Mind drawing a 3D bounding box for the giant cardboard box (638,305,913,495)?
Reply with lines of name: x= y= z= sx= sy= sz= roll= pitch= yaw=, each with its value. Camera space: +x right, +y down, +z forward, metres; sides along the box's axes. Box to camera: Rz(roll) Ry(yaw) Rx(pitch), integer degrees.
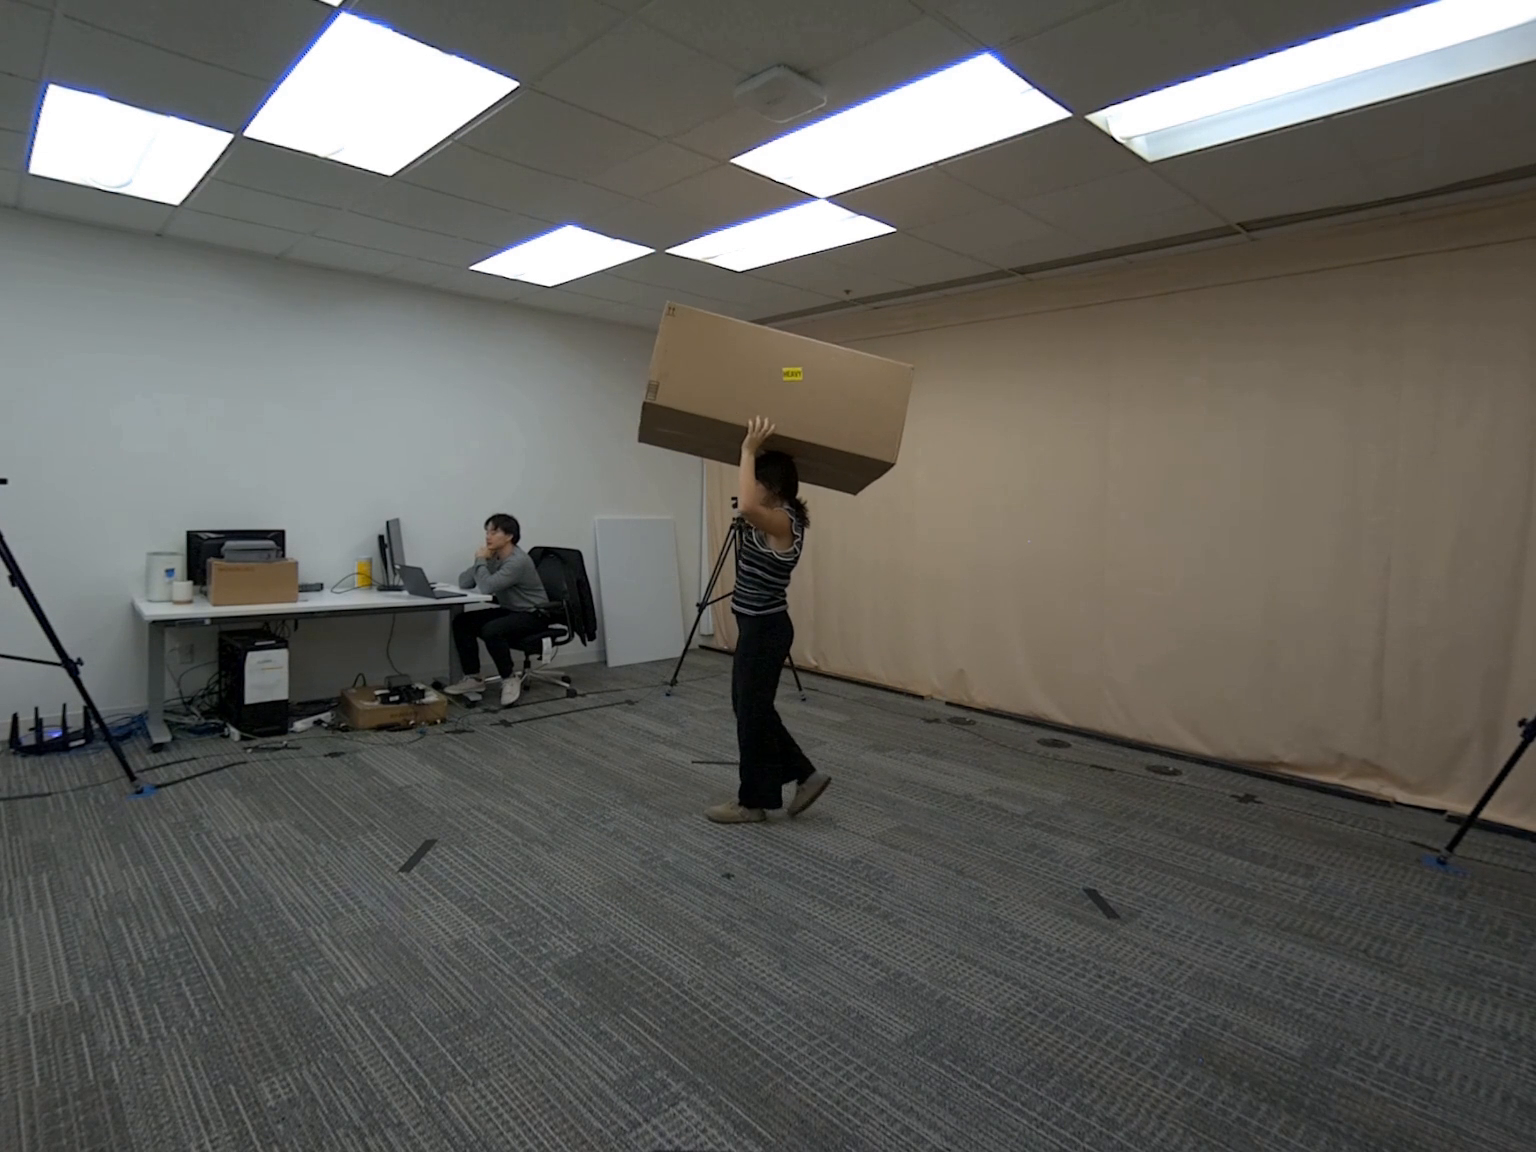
giant cardboard box: x=-0.001 y=-0.718 z=3.562 sx=1.020 sy=0.429 sz=0.577 roll=13 pitch=-10 yaw=-6
